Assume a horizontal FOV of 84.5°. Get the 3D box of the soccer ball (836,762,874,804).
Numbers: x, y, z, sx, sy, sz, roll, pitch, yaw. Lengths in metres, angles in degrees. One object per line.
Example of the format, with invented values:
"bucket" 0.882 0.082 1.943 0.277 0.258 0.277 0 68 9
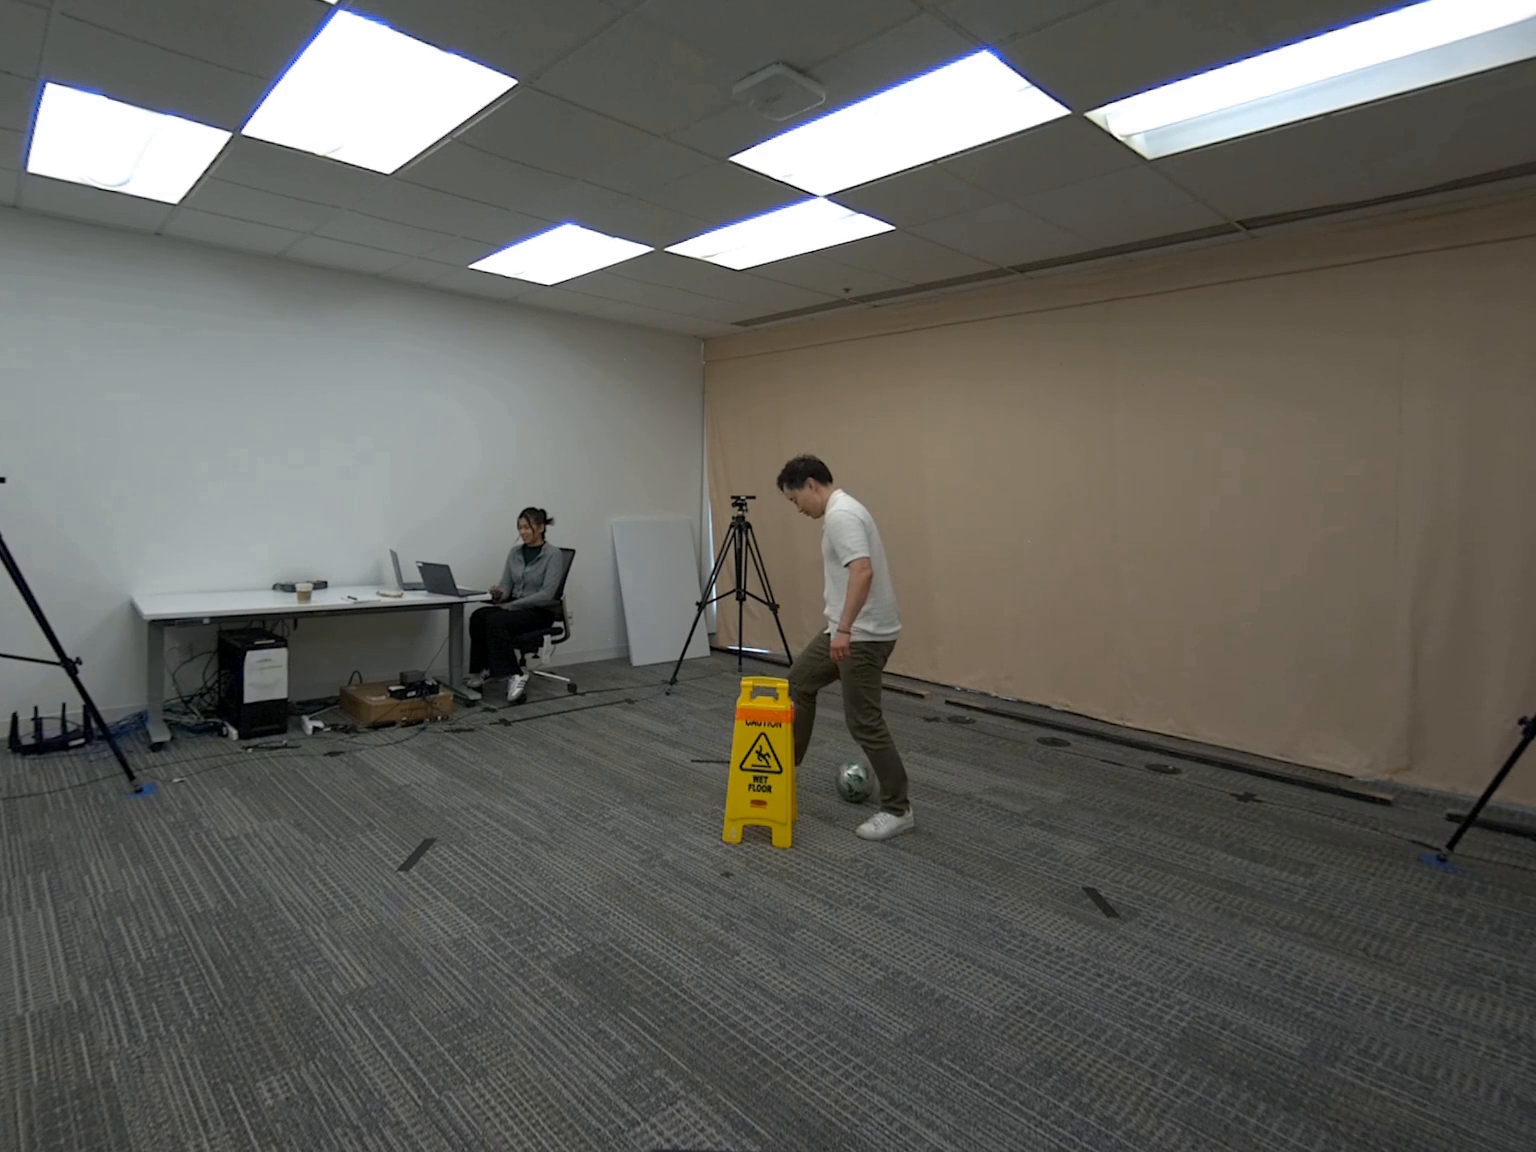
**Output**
"soccer ball" 0.393 0.958 3.918 0.187 0.187 0.188 1 4 -1
